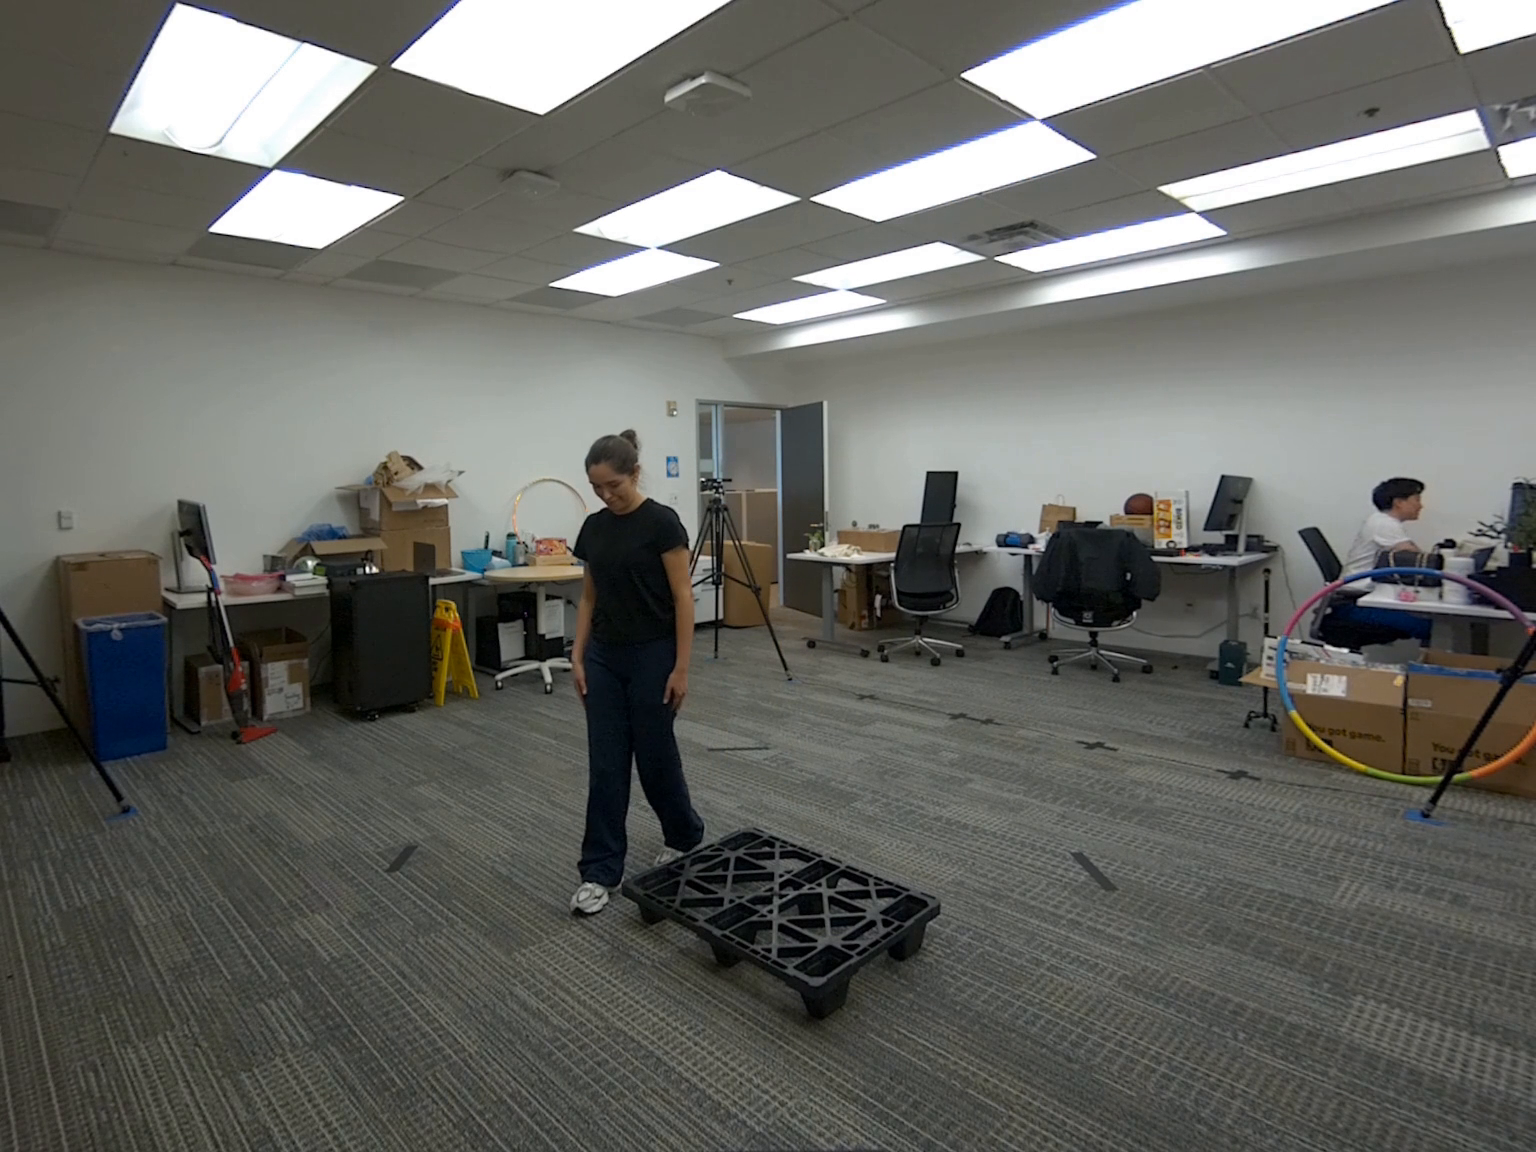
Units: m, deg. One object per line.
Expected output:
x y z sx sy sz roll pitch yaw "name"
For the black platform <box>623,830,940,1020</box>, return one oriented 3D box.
0.032 1.034 2.634 0.831 0.143 0.589 6 9 44 "black platform"
